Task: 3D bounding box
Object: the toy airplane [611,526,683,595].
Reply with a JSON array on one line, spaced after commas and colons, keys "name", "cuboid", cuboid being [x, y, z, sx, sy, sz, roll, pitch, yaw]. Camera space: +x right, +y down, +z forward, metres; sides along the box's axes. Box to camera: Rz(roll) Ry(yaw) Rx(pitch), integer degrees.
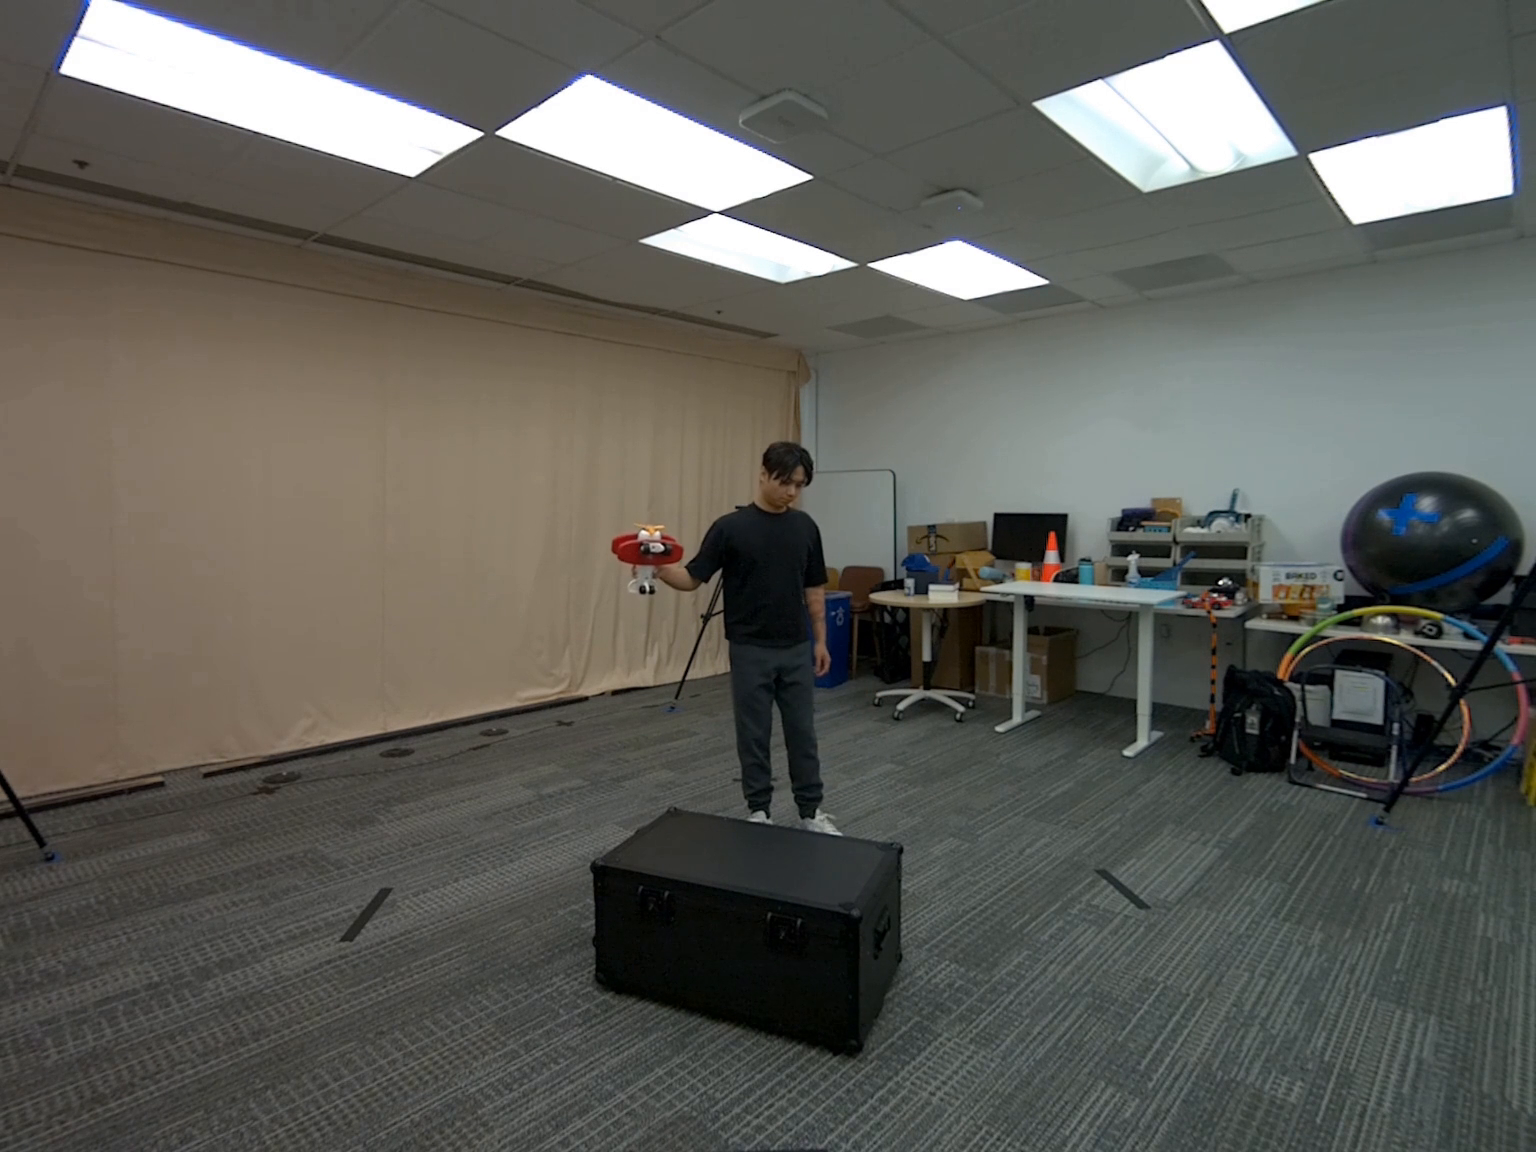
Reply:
[{"name": "toy airplane", "cuboid": [-0.455, -0.061, 3.125, 0.242, 0.260, 0.161, 31, 17, -38]}]
